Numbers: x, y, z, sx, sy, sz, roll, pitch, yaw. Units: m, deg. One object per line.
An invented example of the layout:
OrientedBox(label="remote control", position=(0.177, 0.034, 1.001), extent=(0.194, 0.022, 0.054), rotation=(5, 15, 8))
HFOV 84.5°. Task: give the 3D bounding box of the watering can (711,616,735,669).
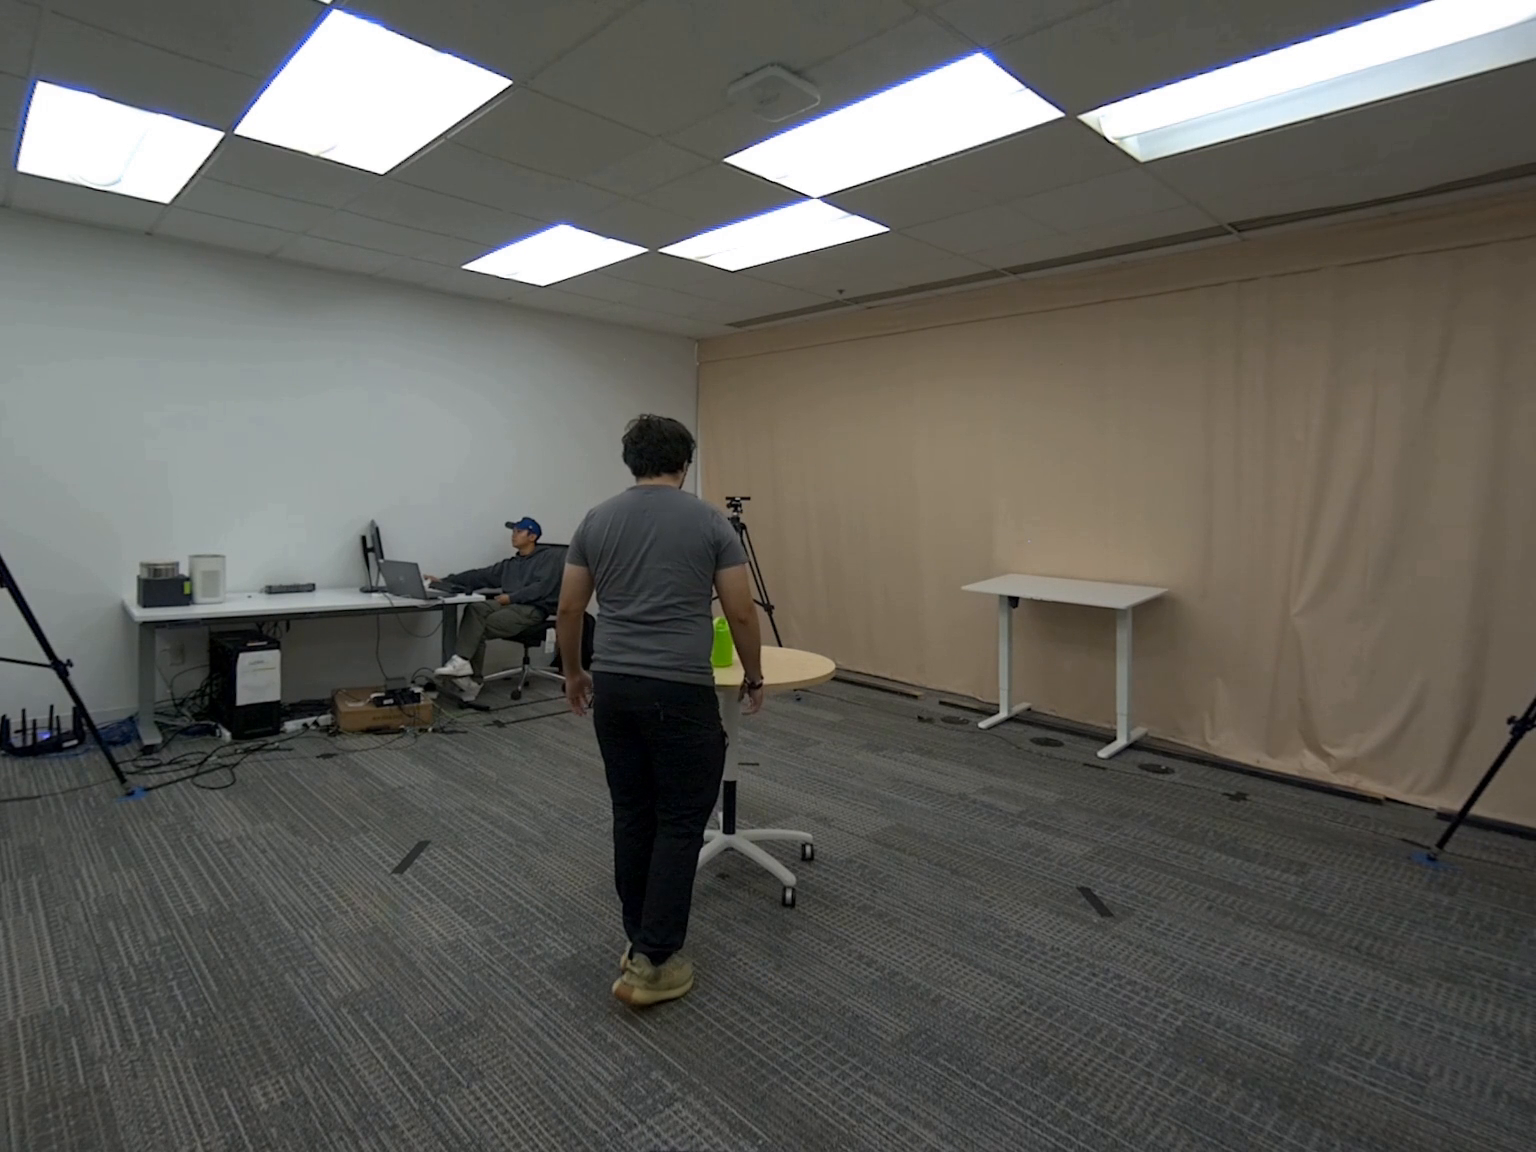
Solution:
OrientedBox(label="watering can", position=(-0.170, 0.235, 3.107), extent=(0.100, 0.176, 0.274), rotation=(2, 6, 22))
